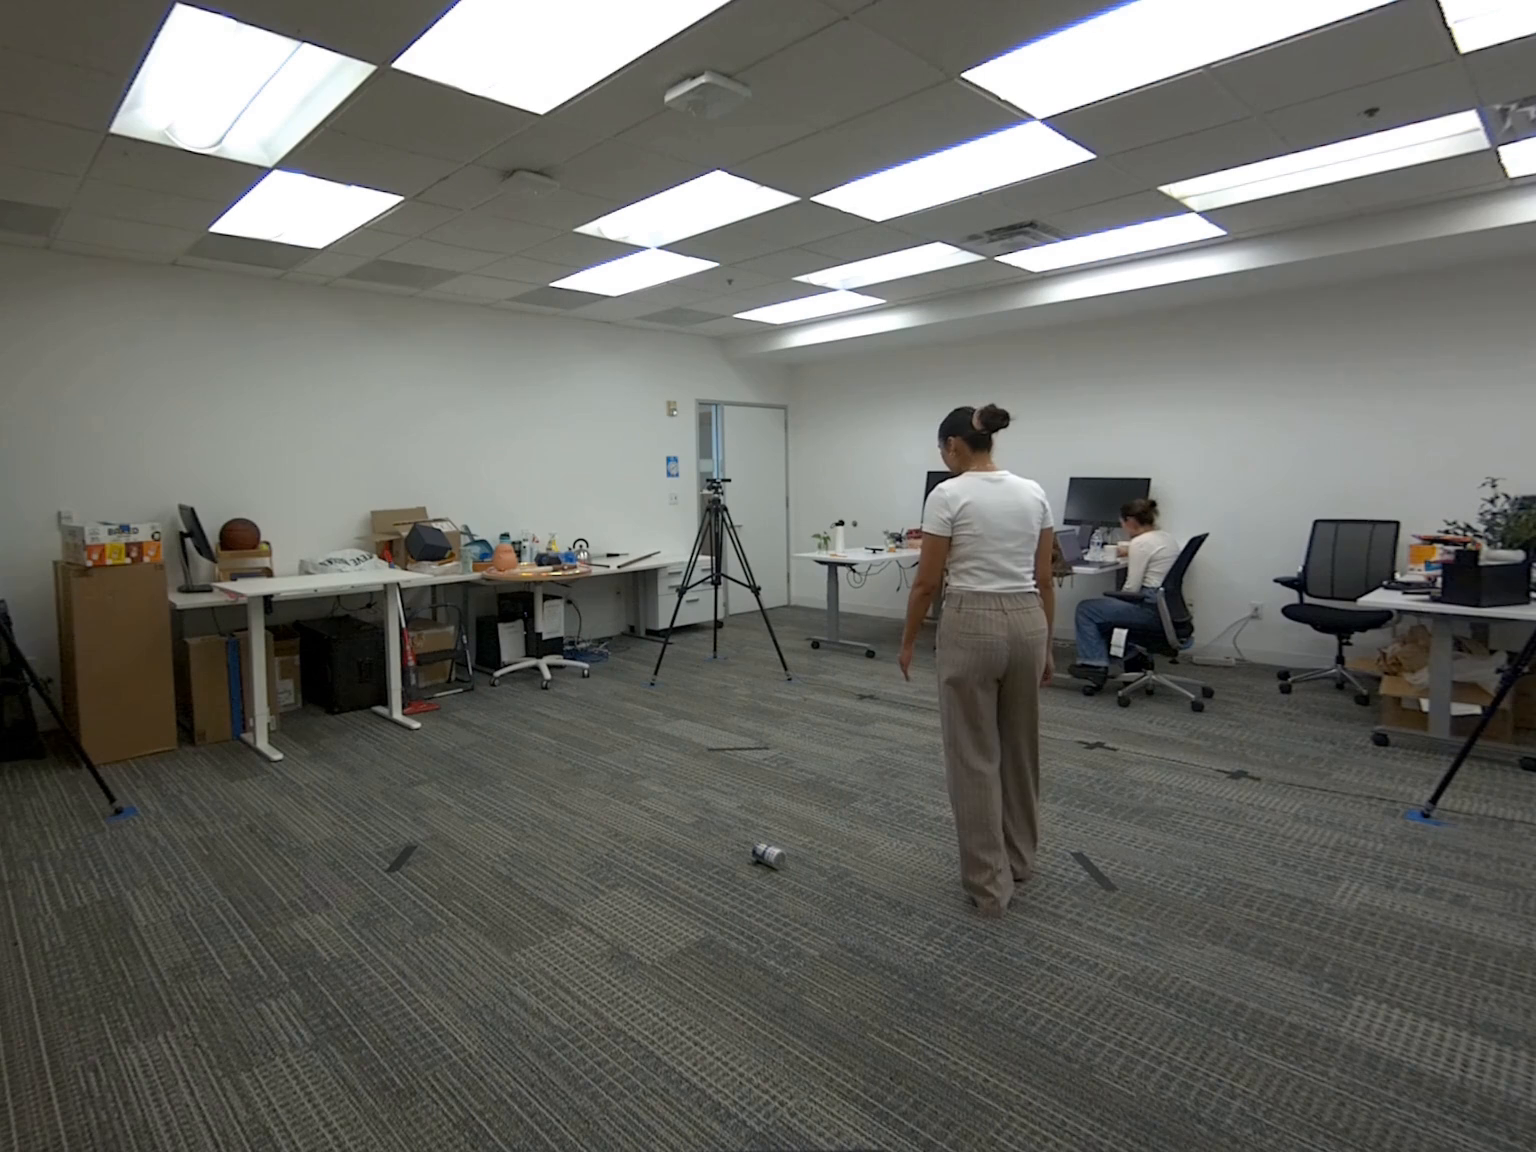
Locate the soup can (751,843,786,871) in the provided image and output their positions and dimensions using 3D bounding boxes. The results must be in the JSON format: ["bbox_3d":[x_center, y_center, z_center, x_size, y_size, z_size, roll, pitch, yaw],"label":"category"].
[{"bbox_3d":[0.008,1.005,3.092,0.065,0.067,0.125,-5,5,-42],"label":"soup can"}]
